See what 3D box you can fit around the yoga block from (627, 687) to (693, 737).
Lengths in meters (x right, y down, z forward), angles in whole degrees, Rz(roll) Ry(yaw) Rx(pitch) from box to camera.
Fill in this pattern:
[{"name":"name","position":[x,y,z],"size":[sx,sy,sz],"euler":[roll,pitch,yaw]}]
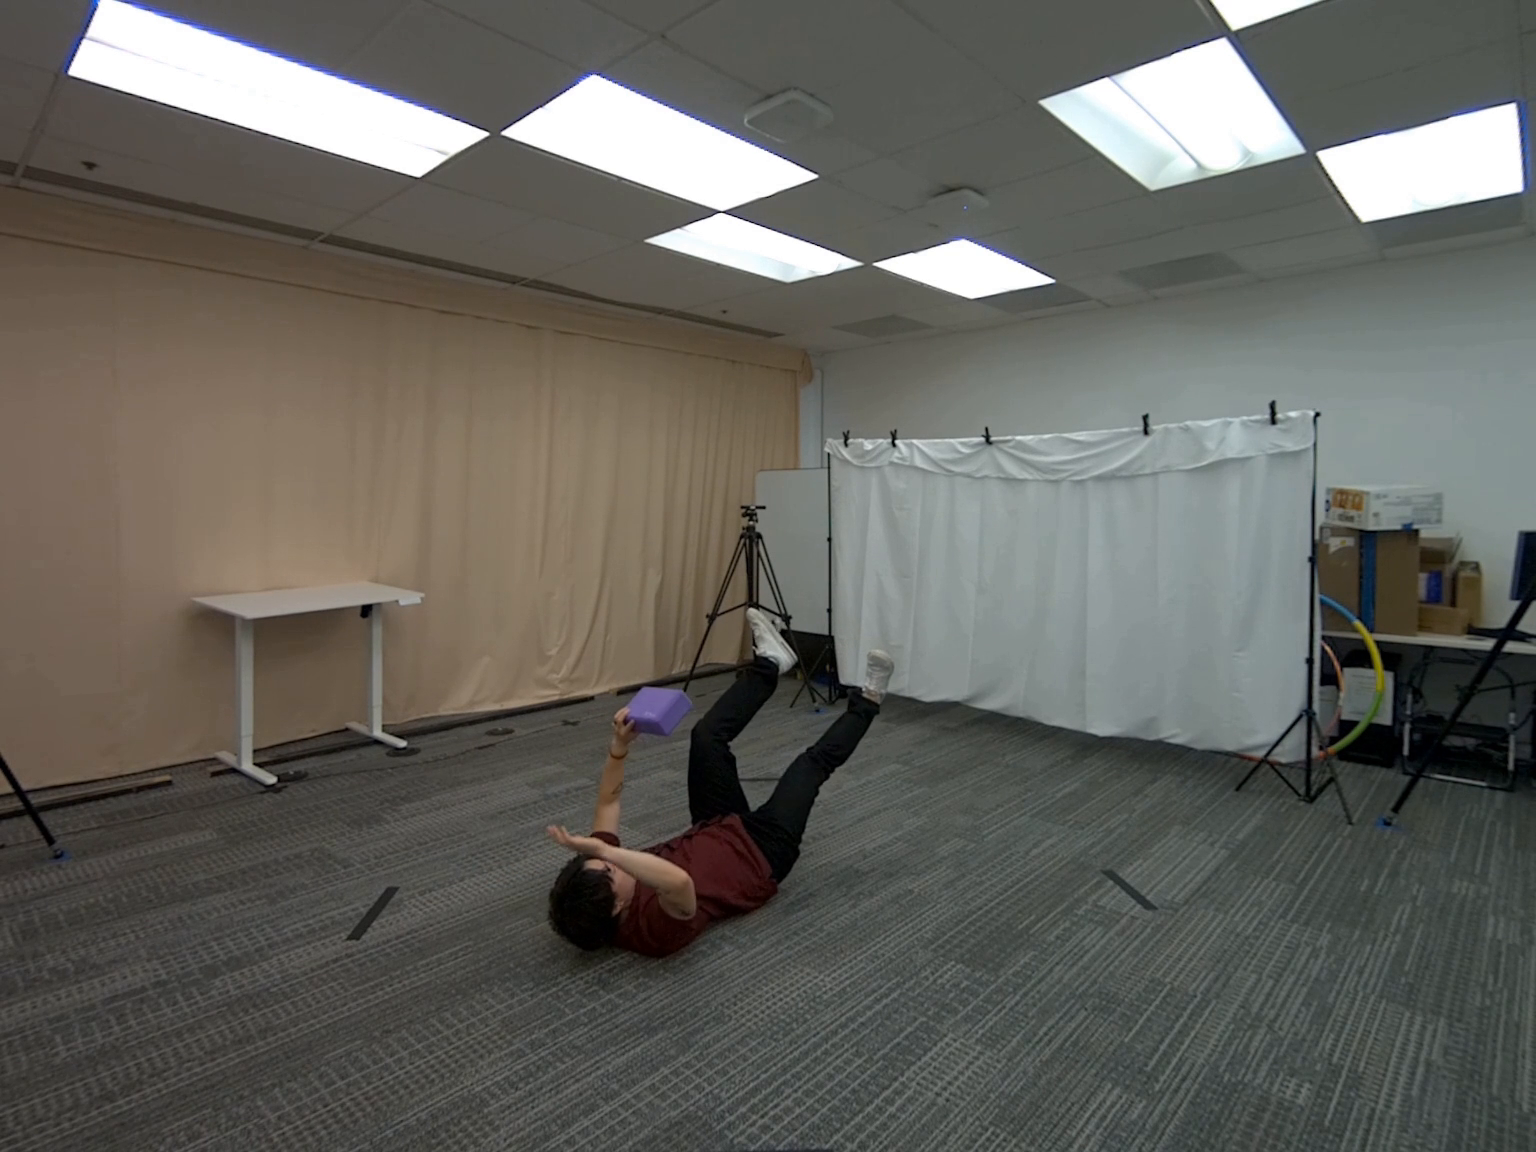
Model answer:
[{"name":"yoga block","position":[-0.365,0.448,2.792],"size":[0.236,0.075,0.148],"euler":[-4,36,48]}]
